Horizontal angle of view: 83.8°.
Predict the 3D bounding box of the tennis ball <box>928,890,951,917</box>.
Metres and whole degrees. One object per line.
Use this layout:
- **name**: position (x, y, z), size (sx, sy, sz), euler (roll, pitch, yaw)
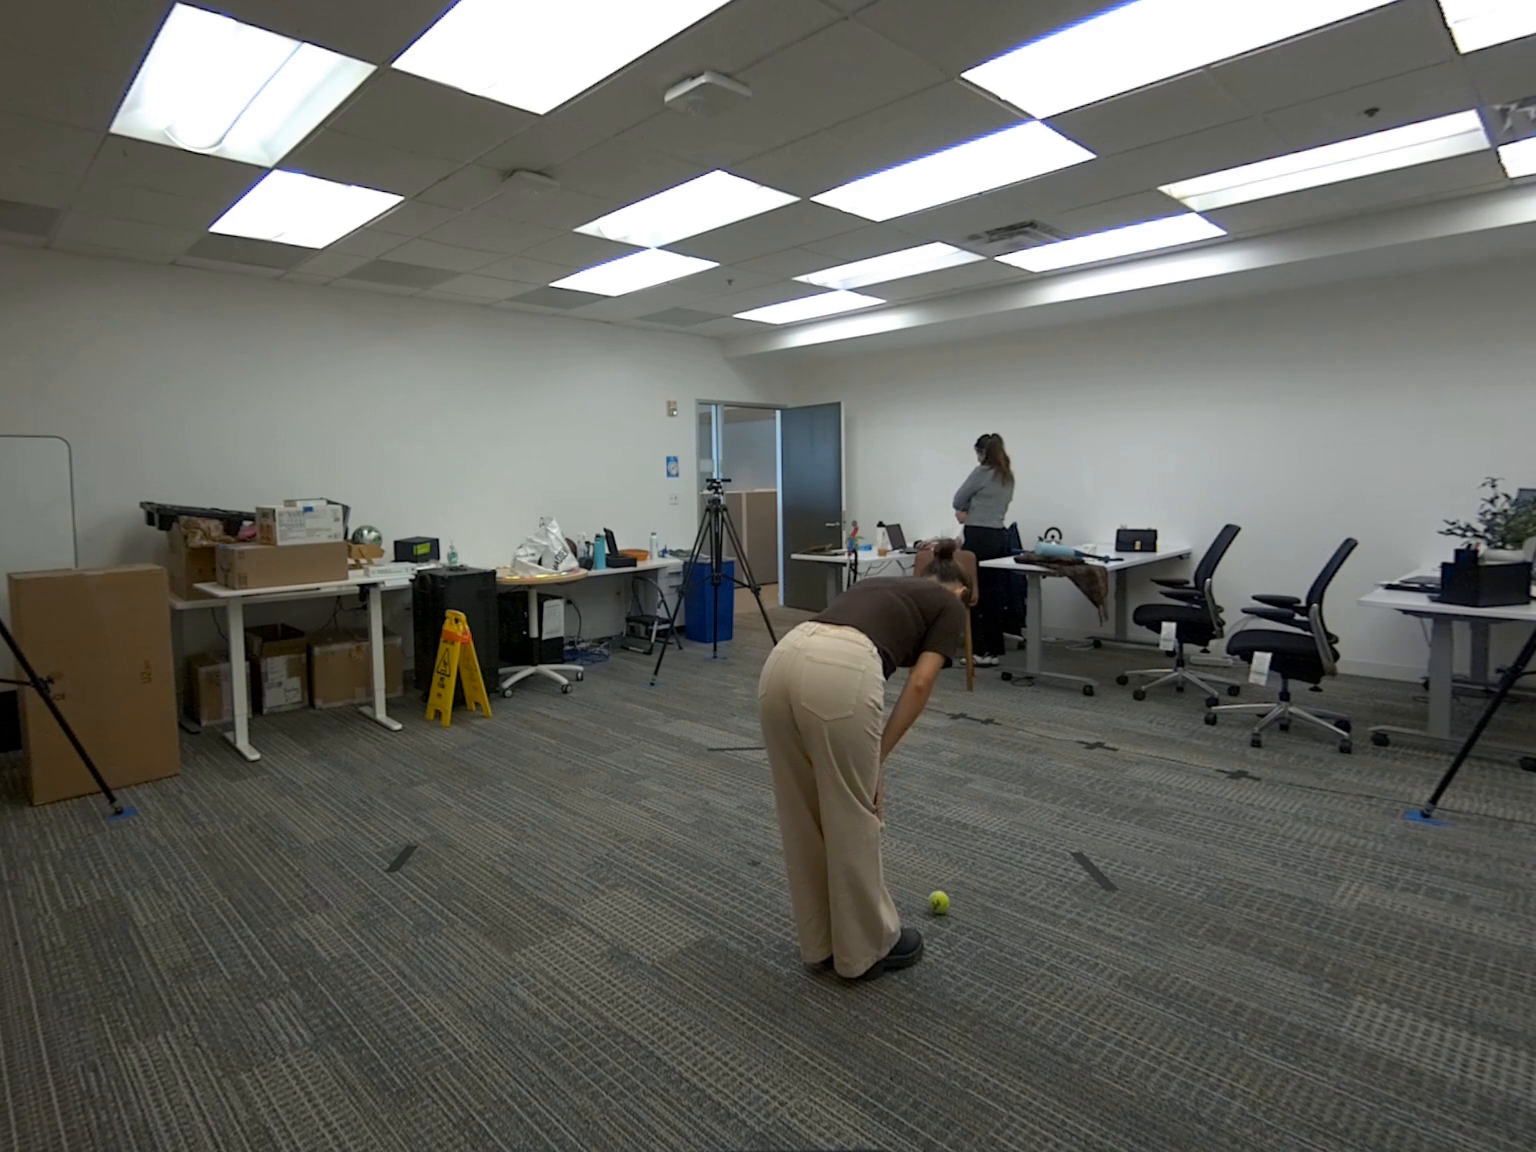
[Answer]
- **tennis ball**: position (0.553, 1.042, 2.728), size (0.066, 0.066, 0.067), euler (-1, 5, -2)
